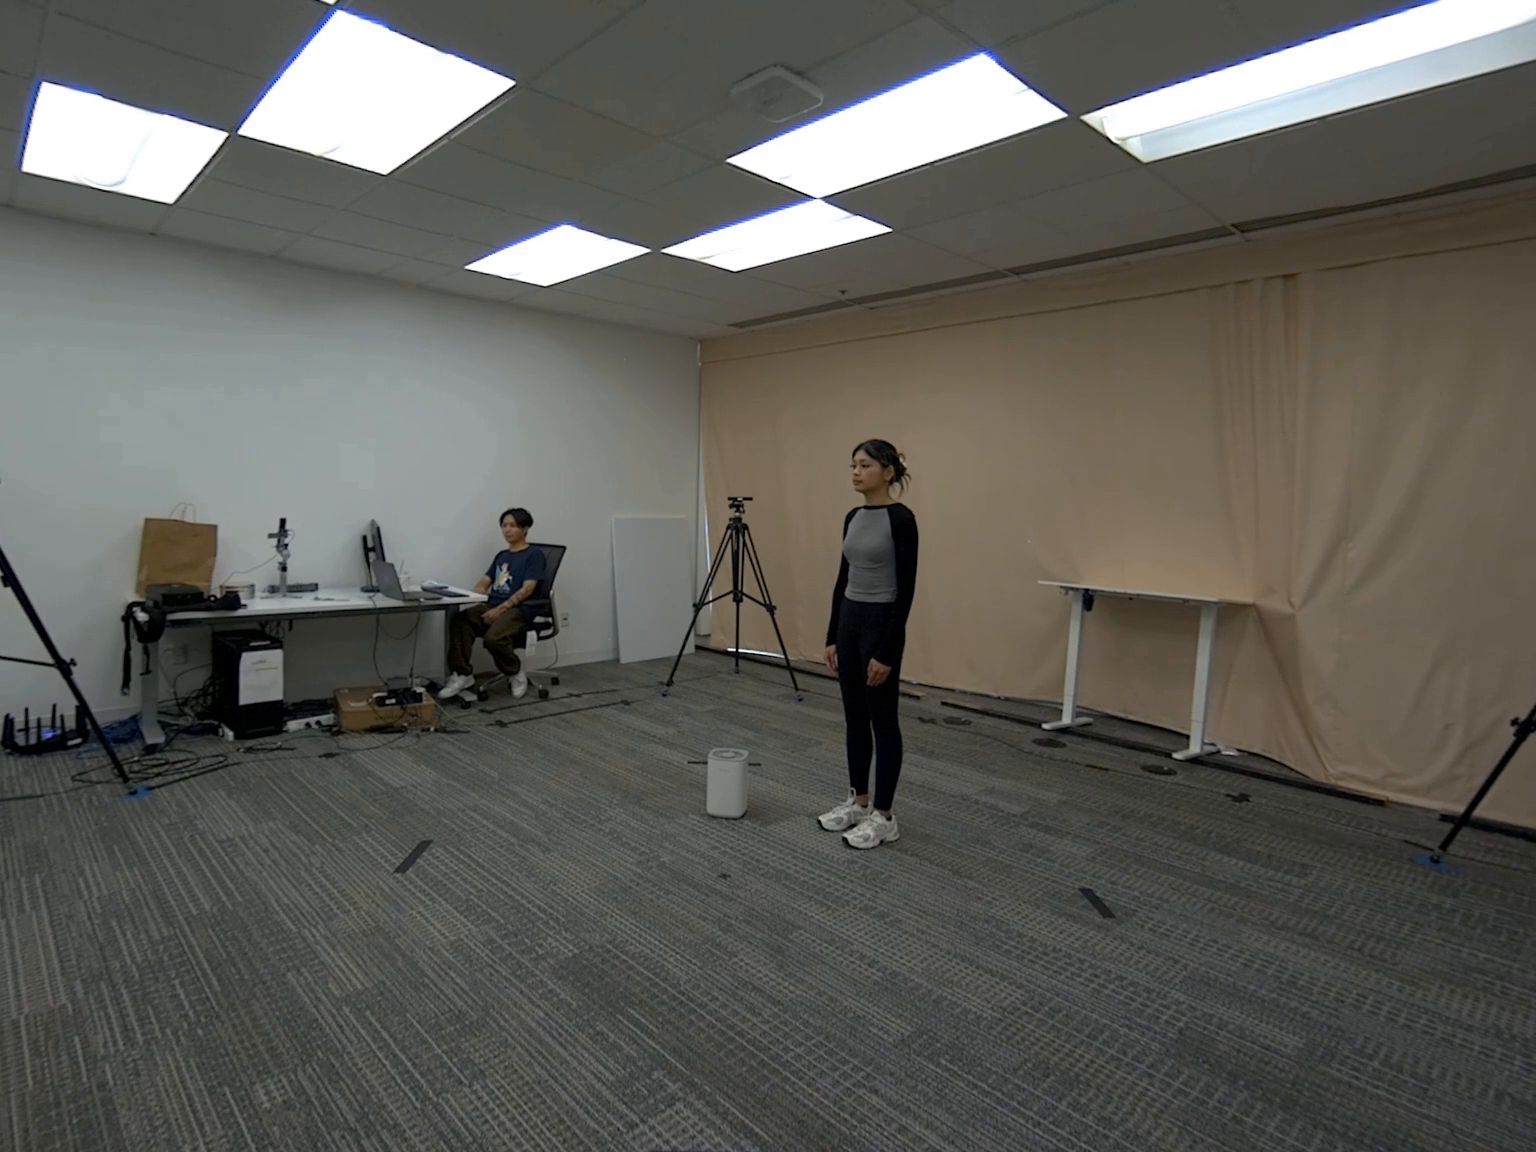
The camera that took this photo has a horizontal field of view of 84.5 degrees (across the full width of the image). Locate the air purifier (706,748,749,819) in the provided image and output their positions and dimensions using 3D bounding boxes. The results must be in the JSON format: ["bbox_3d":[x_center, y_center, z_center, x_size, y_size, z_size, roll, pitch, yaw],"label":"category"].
[{"bbox_3d":[-0.185,0.911,3.731,0.173,0.264,0.170,3,4,10],"label":"air purifier"}]
